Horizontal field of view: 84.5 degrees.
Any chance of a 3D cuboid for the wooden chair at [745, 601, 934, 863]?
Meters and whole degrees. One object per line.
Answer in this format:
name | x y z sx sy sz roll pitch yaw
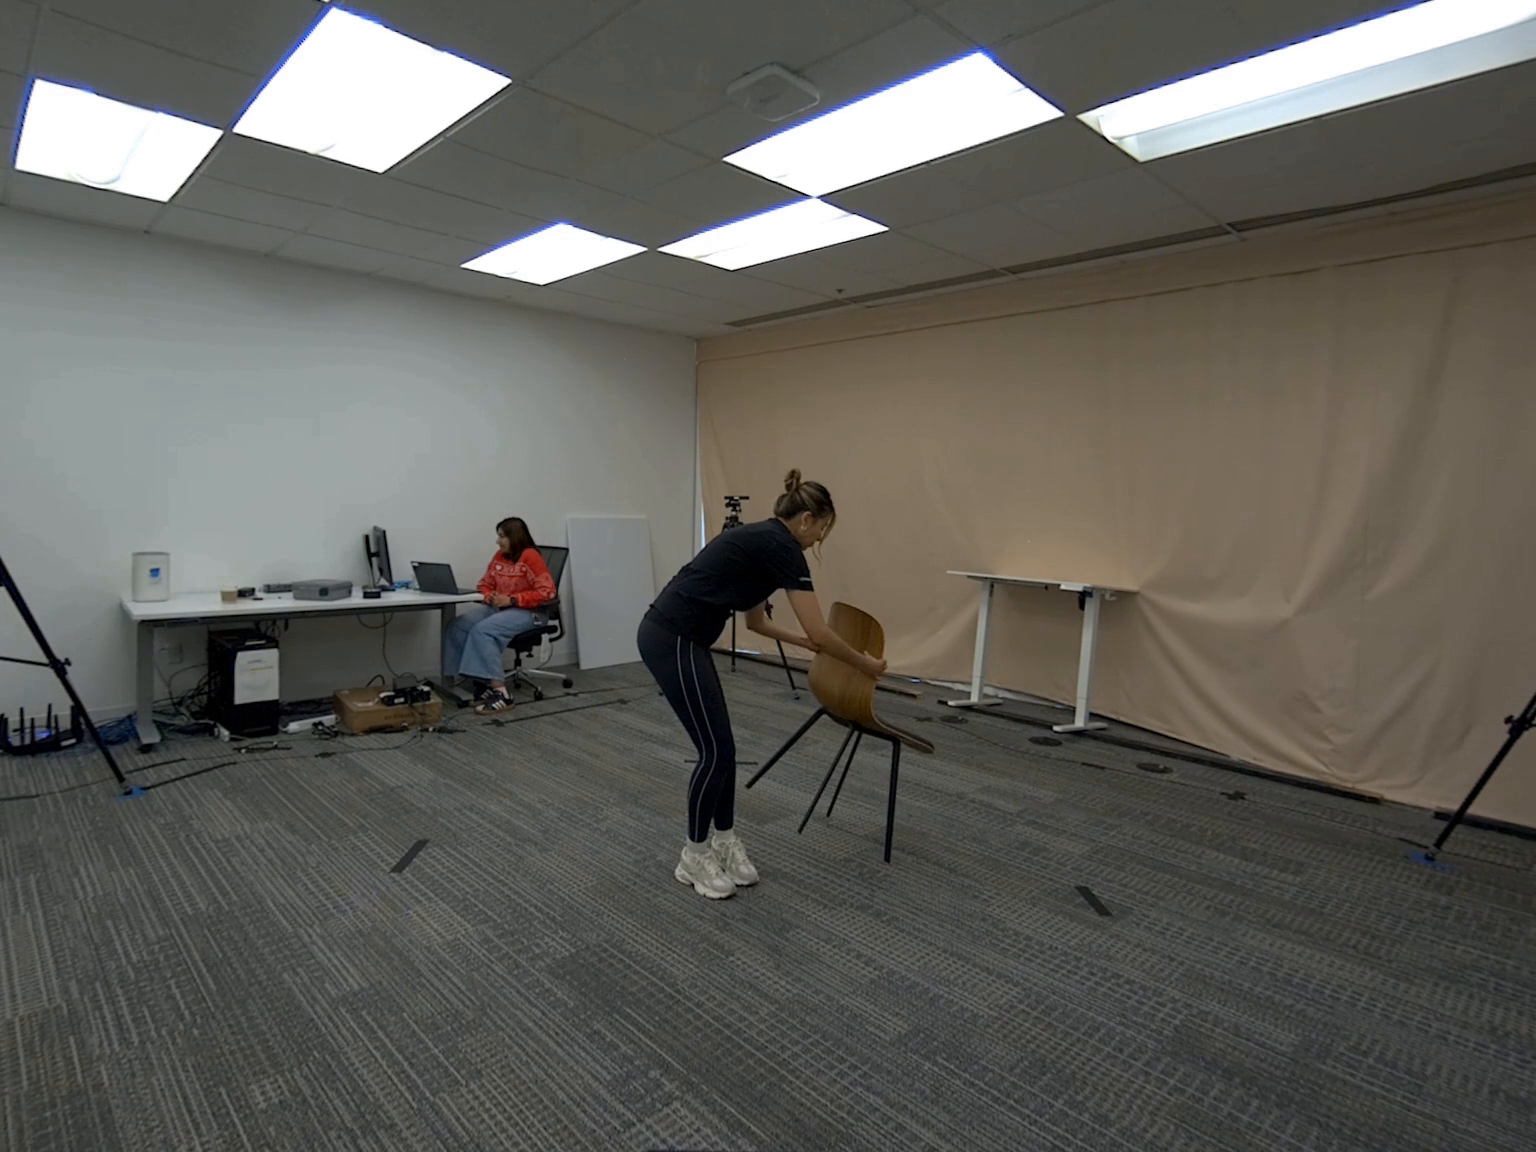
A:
wooden chair | 0.352 0.591 3.367 0.510 0.878 0.489 23 -4 -27
